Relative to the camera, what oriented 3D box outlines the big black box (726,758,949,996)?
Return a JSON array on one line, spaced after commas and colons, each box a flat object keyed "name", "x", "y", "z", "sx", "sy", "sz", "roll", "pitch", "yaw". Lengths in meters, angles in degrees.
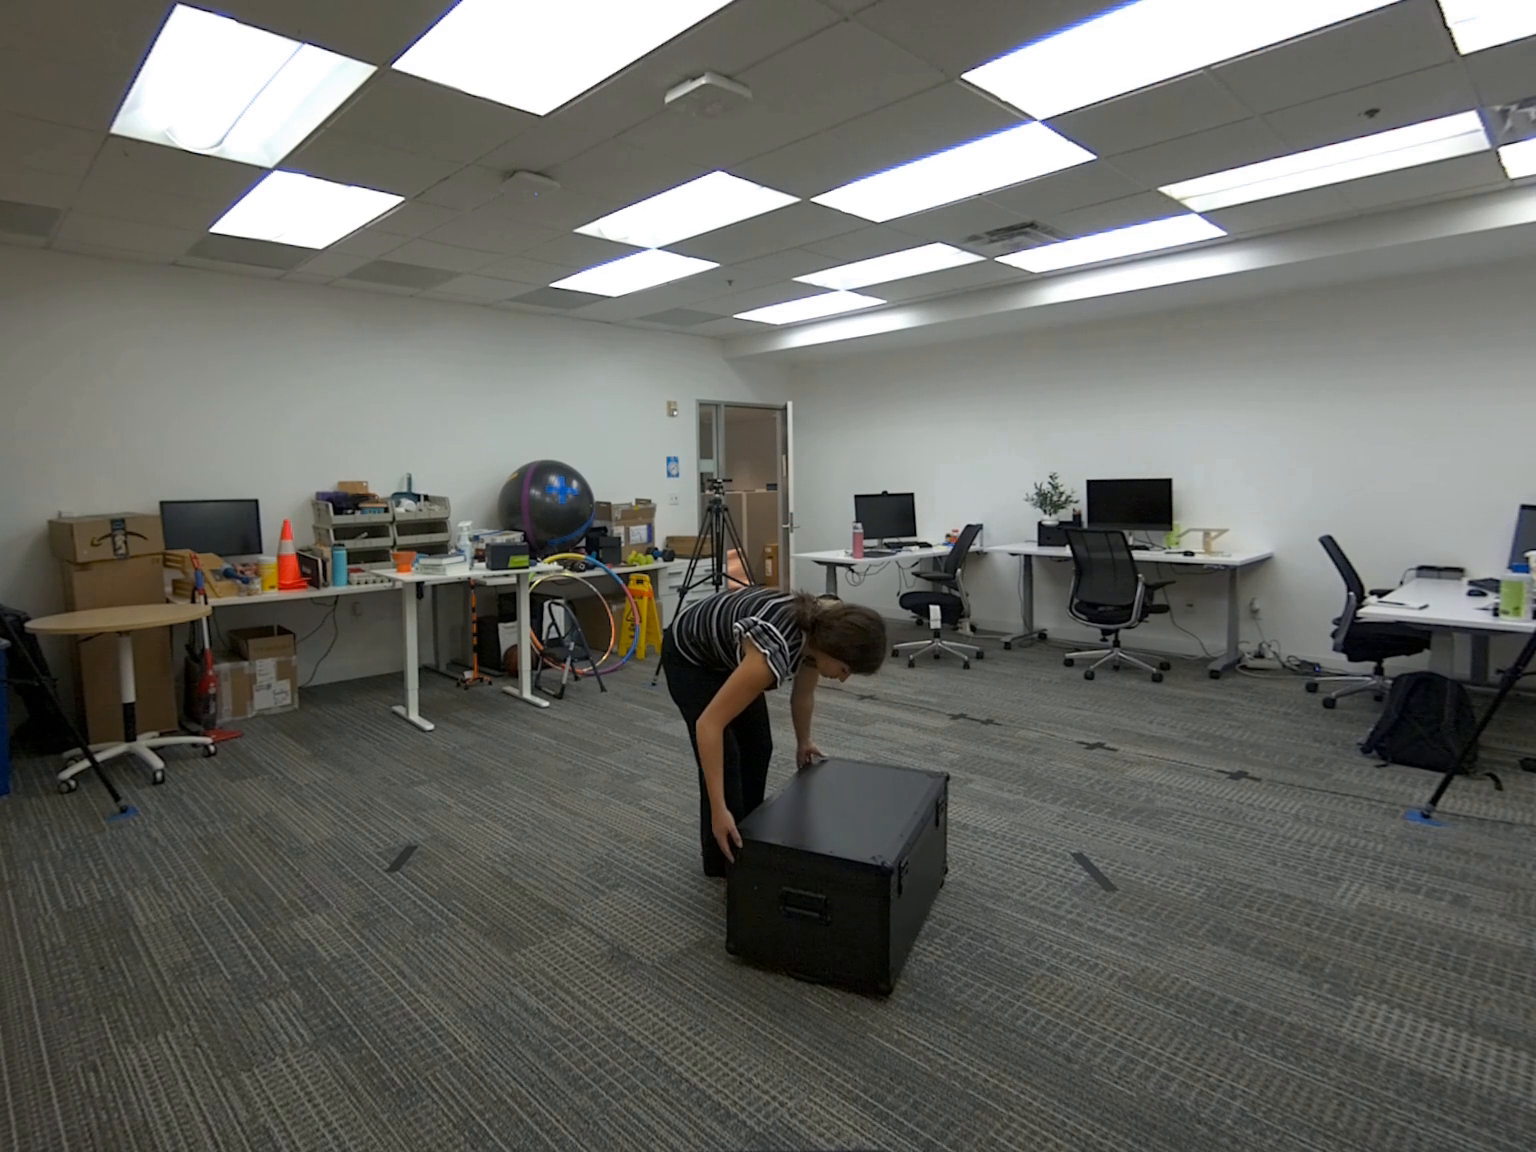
[{"name": "big black box", "x": 0.269, "y": 0.888, "z": 2.727, "sx": 0.533, "sy": 0.394, "sz": 0.847, "roll": 1, "pitch": 7, "yaw": 23}]
